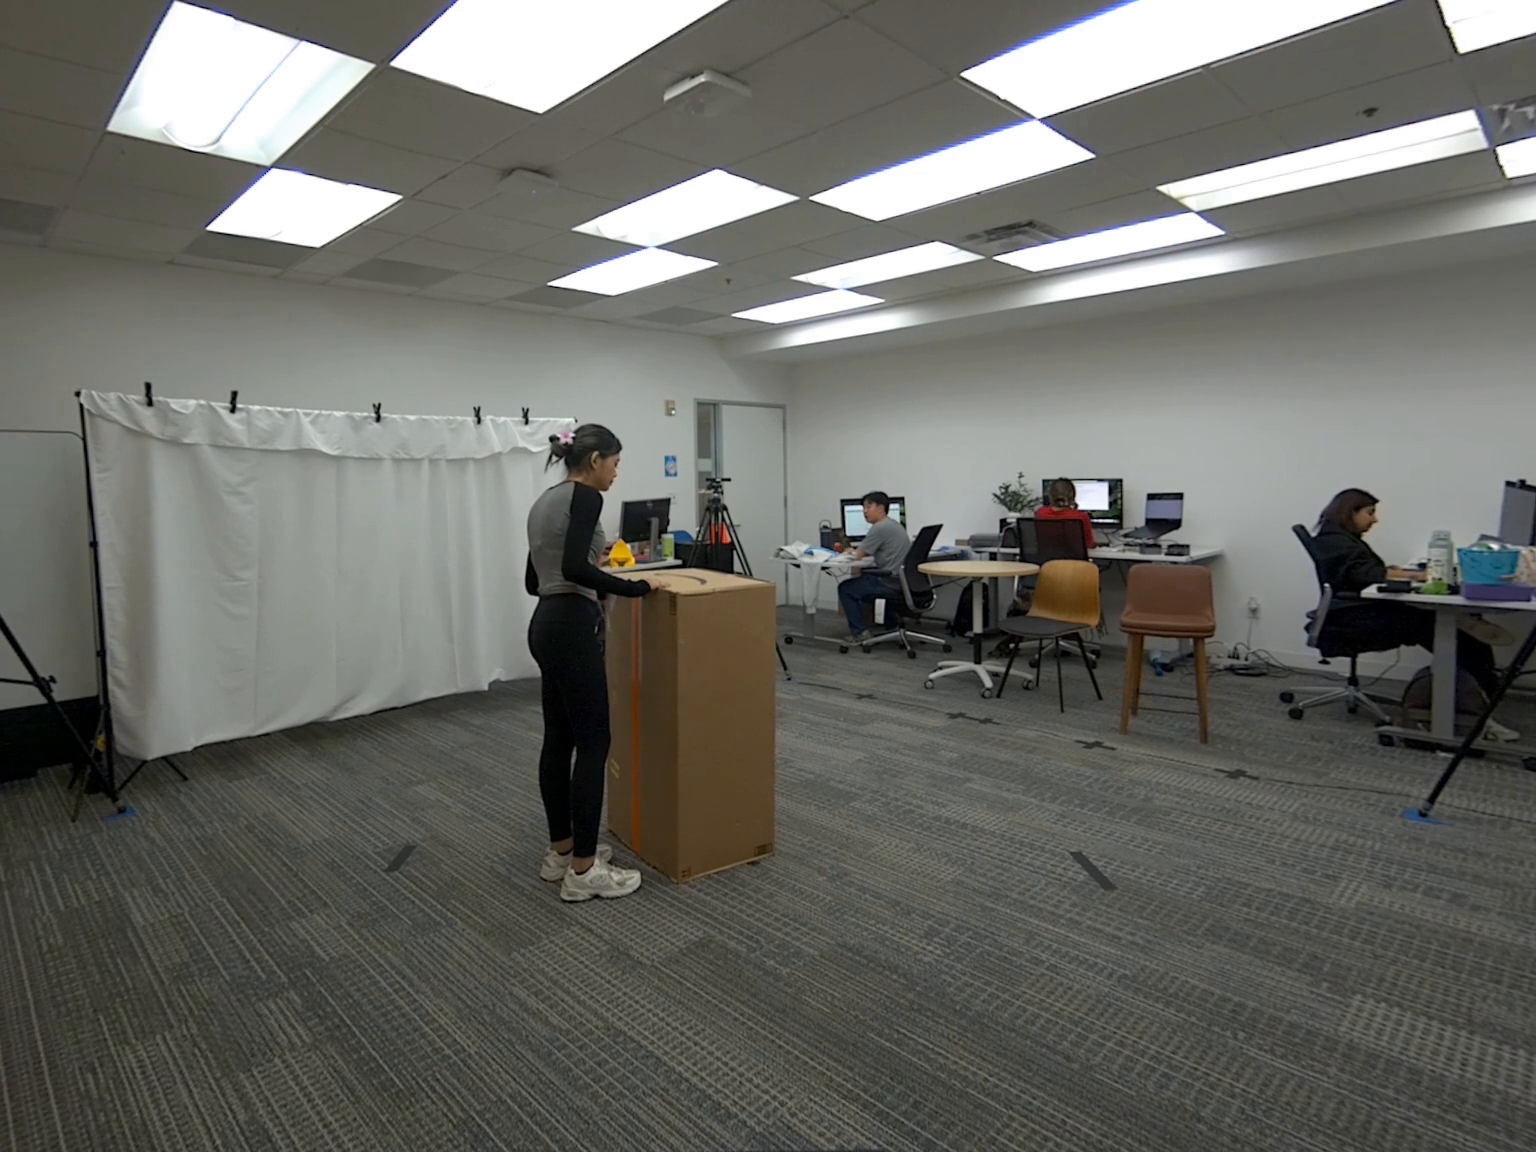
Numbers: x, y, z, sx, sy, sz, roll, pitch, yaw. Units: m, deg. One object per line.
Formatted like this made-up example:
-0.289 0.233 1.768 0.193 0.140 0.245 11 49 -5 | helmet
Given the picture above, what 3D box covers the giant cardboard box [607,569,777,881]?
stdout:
-0.307 0.520 3.263 0.435 1.023 0.601 -2 6 -35 | giant cardboard box
